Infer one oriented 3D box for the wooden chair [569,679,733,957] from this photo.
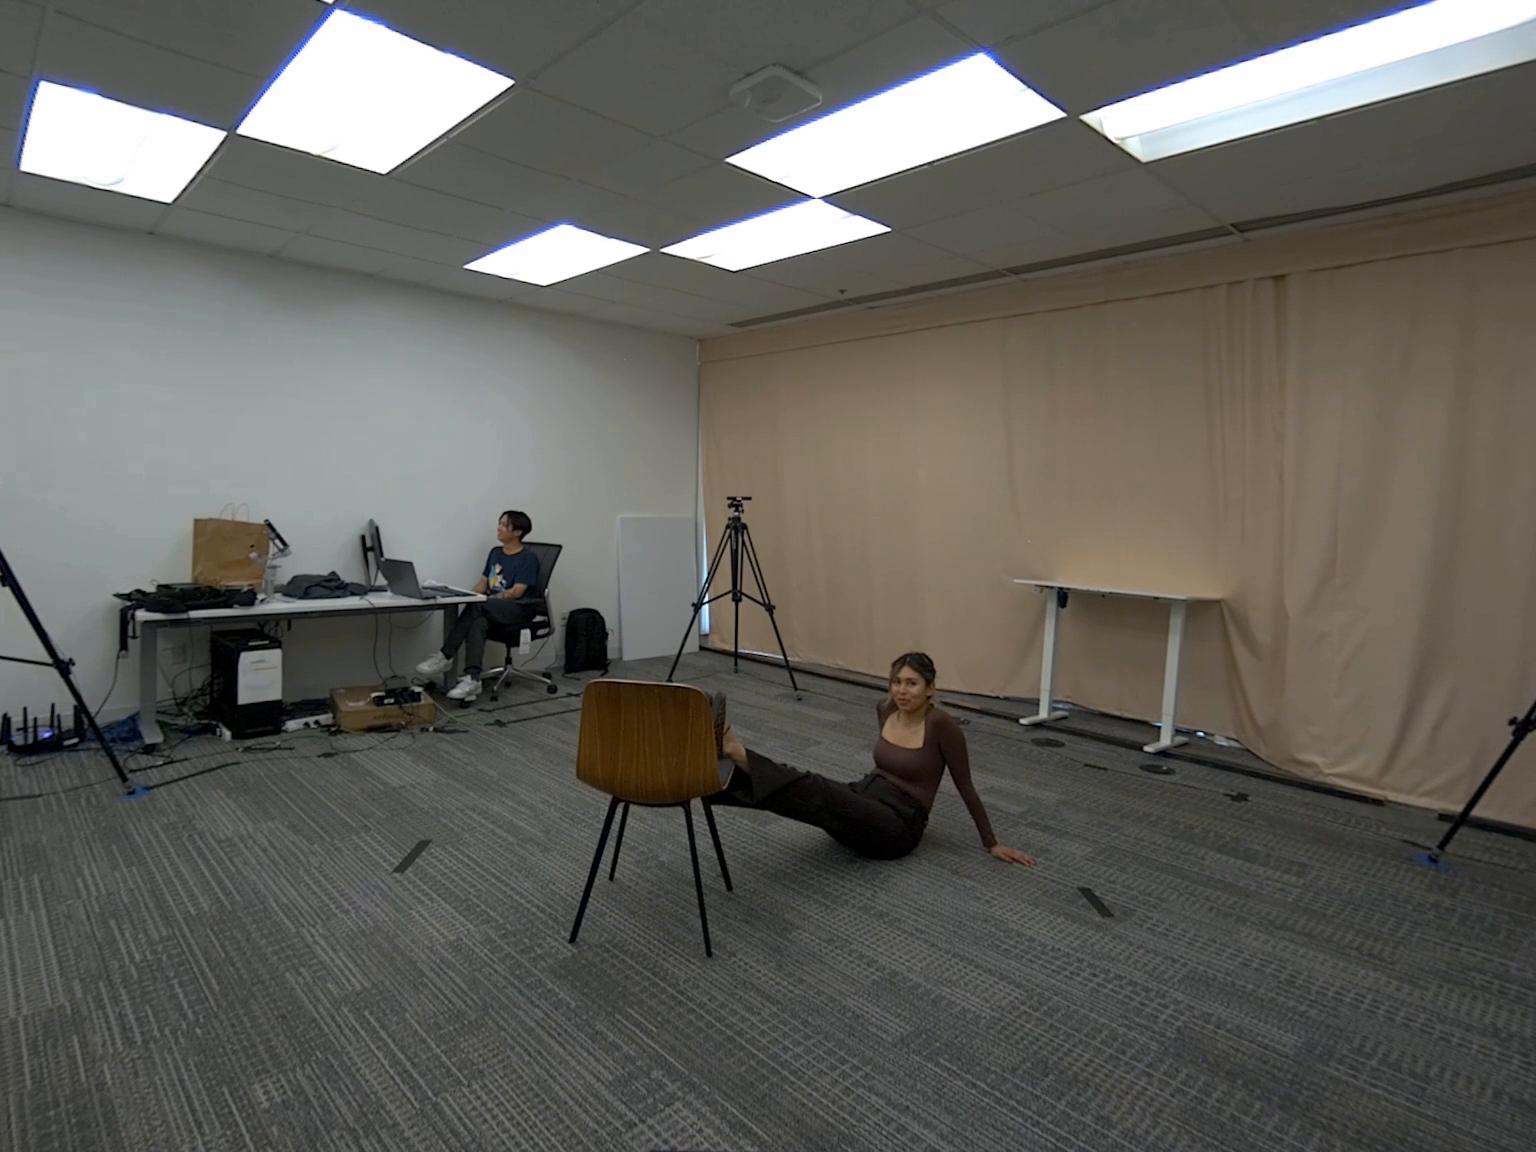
[{"bbox_3d":[-0.364,0.704,2.770,0.481,0.872,0.522,2,8,7],"label":"wooden chair"}]
